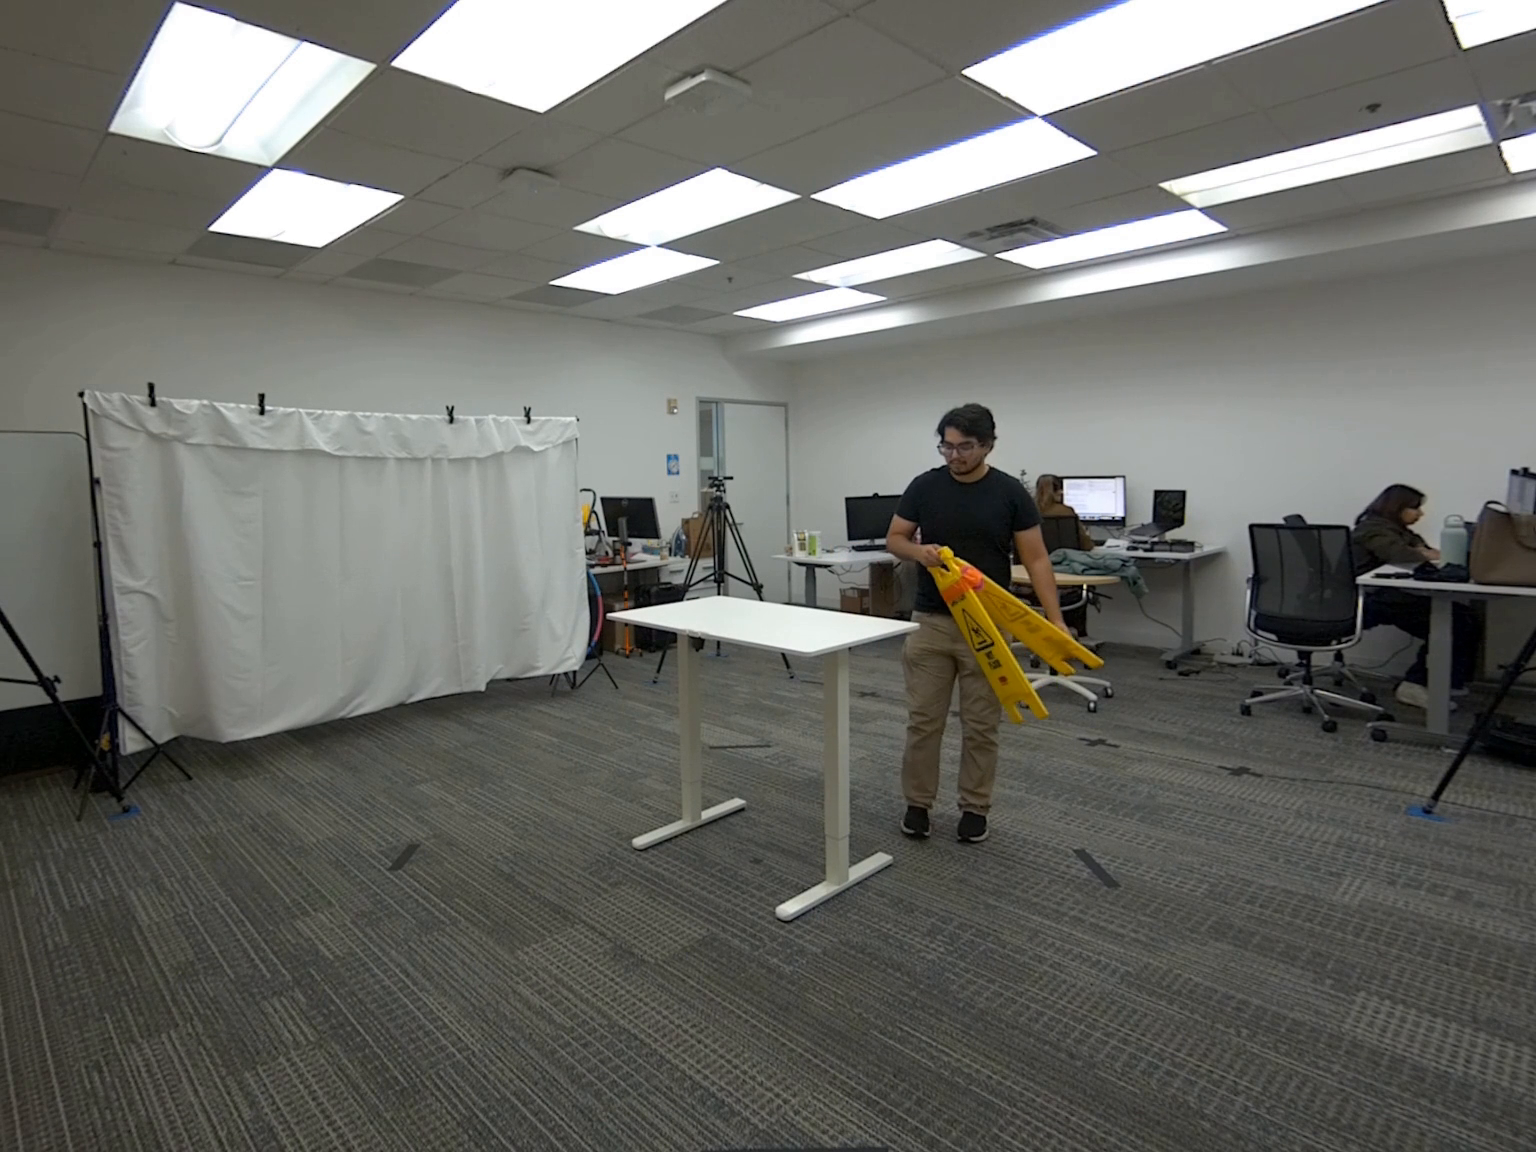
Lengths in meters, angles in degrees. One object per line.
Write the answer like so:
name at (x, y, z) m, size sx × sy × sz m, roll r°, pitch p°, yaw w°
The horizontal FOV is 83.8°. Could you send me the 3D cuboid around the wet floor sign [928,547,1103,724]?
wet floor sign at (0.805, 0.174, 3.043) m, size 0.289 × 0.656 × 0.279 m, roll -37°, pitch -11°, yaw -12°
